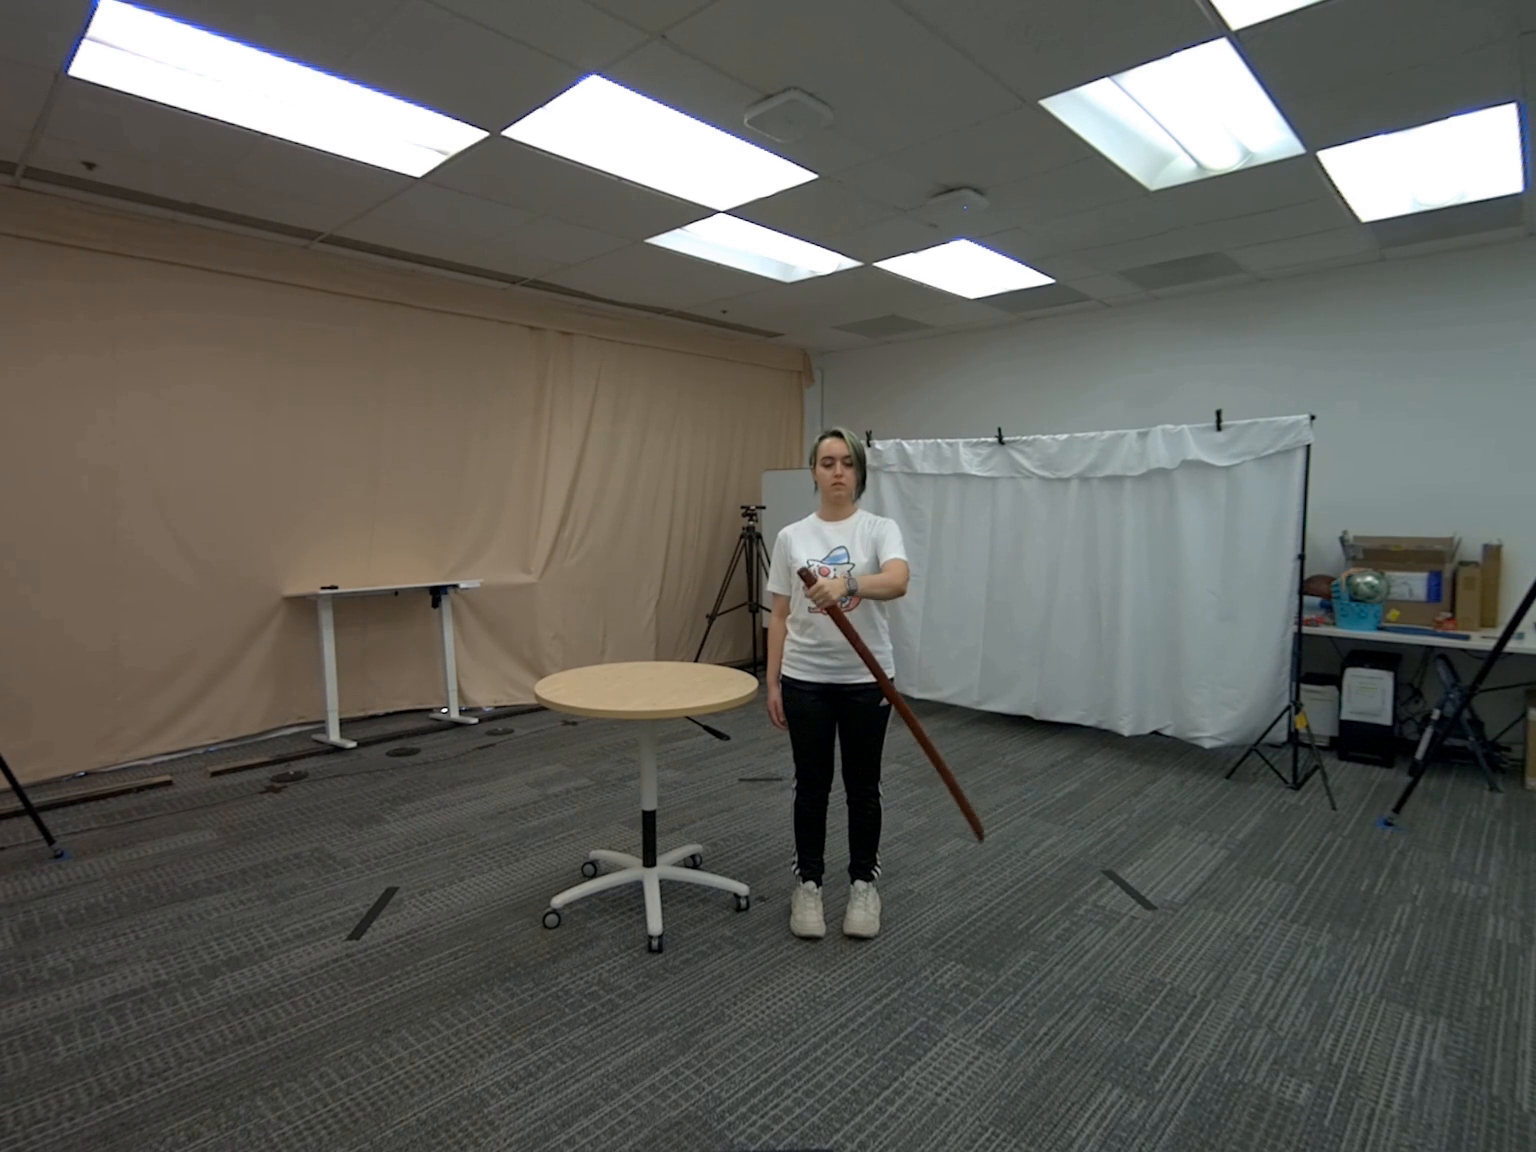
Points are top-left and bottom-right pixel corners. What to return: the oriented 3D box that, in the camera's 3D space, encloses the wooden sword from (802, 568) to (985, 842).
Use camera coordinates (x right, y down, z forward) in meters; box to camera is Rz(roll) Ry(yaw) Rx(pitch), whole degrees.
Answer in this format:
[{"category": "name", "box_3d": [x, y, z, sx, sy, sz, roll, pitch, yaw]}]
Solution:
[{"category": "wooden sword", "box_3d": [0.404, 0.400, 2.447, 0.051, 1.009, 0.024, -38, 15, -20]}]
